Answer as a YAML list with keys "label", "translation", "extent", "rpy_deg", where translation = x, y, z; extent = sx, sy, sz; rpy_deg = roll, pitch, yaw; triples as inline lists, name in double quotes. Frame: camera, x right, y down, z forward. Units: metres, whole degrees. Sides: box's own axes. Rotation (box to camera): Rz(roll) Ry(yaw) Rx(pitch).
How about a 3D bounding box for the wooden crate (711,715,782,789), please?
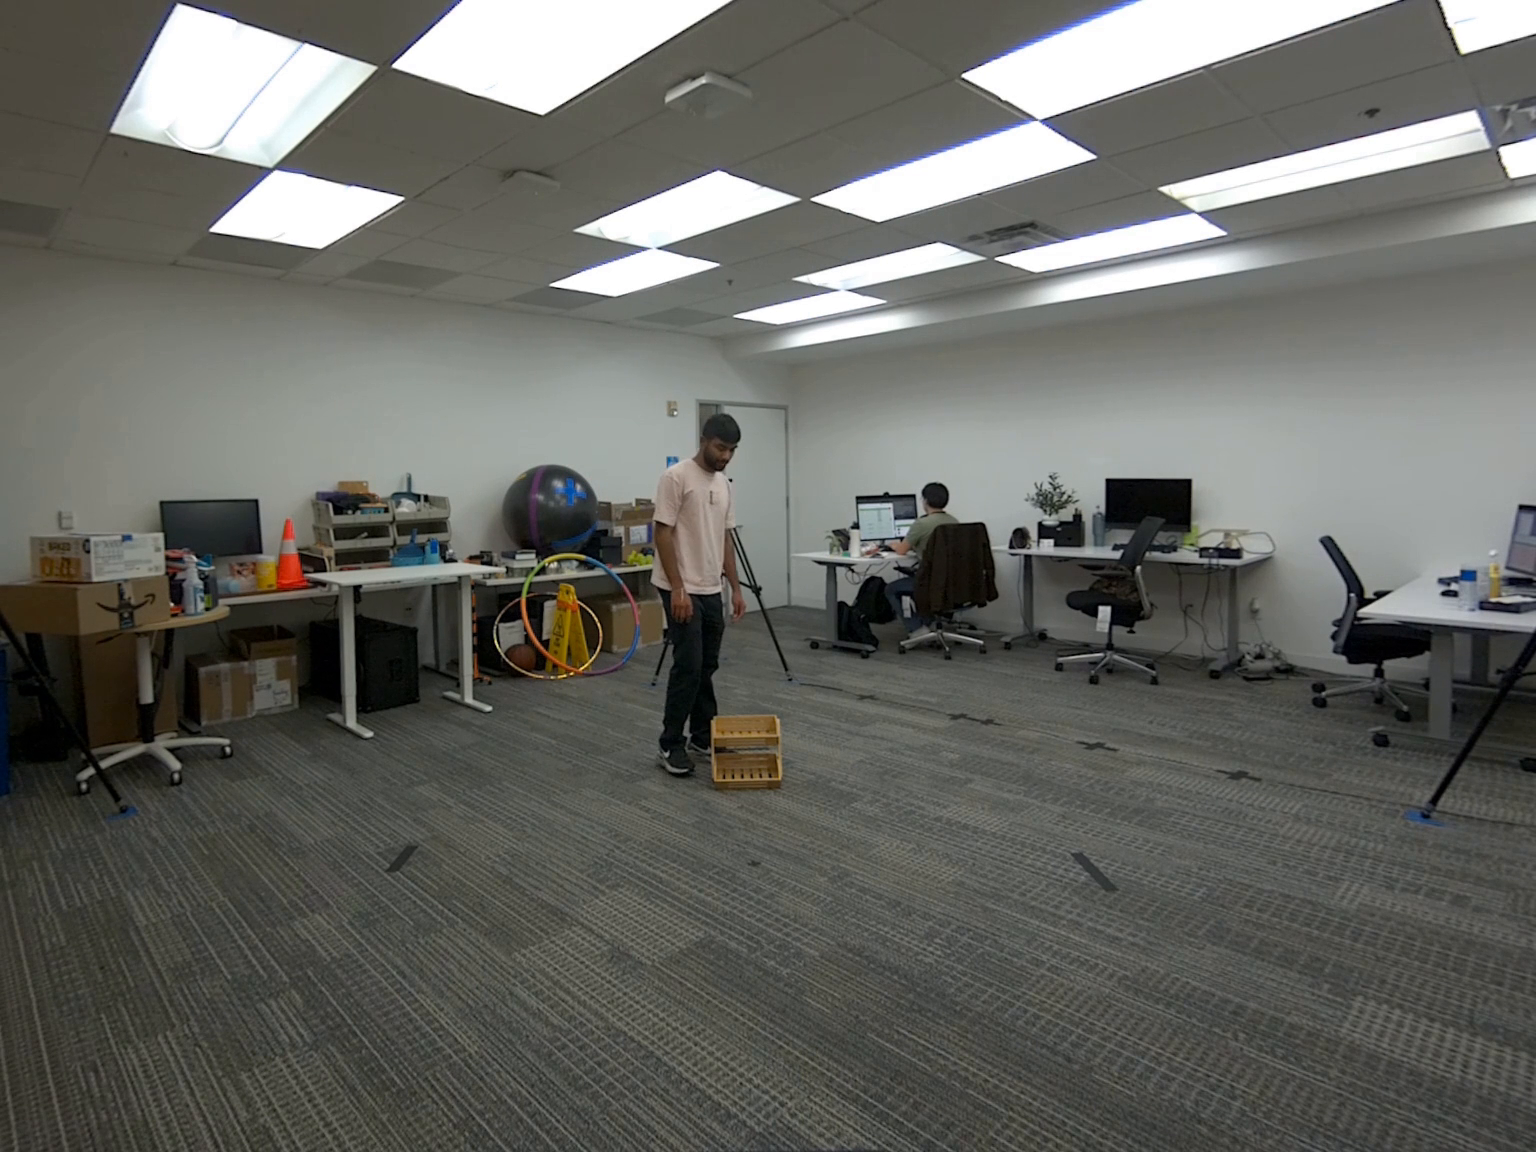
- label: "wooden crate"
  translation: [-0.101, 0.814, 3.978]
  extent: [0.324, 0.273, 0.303]
  rpy_deg: [-1, 3, -2]
